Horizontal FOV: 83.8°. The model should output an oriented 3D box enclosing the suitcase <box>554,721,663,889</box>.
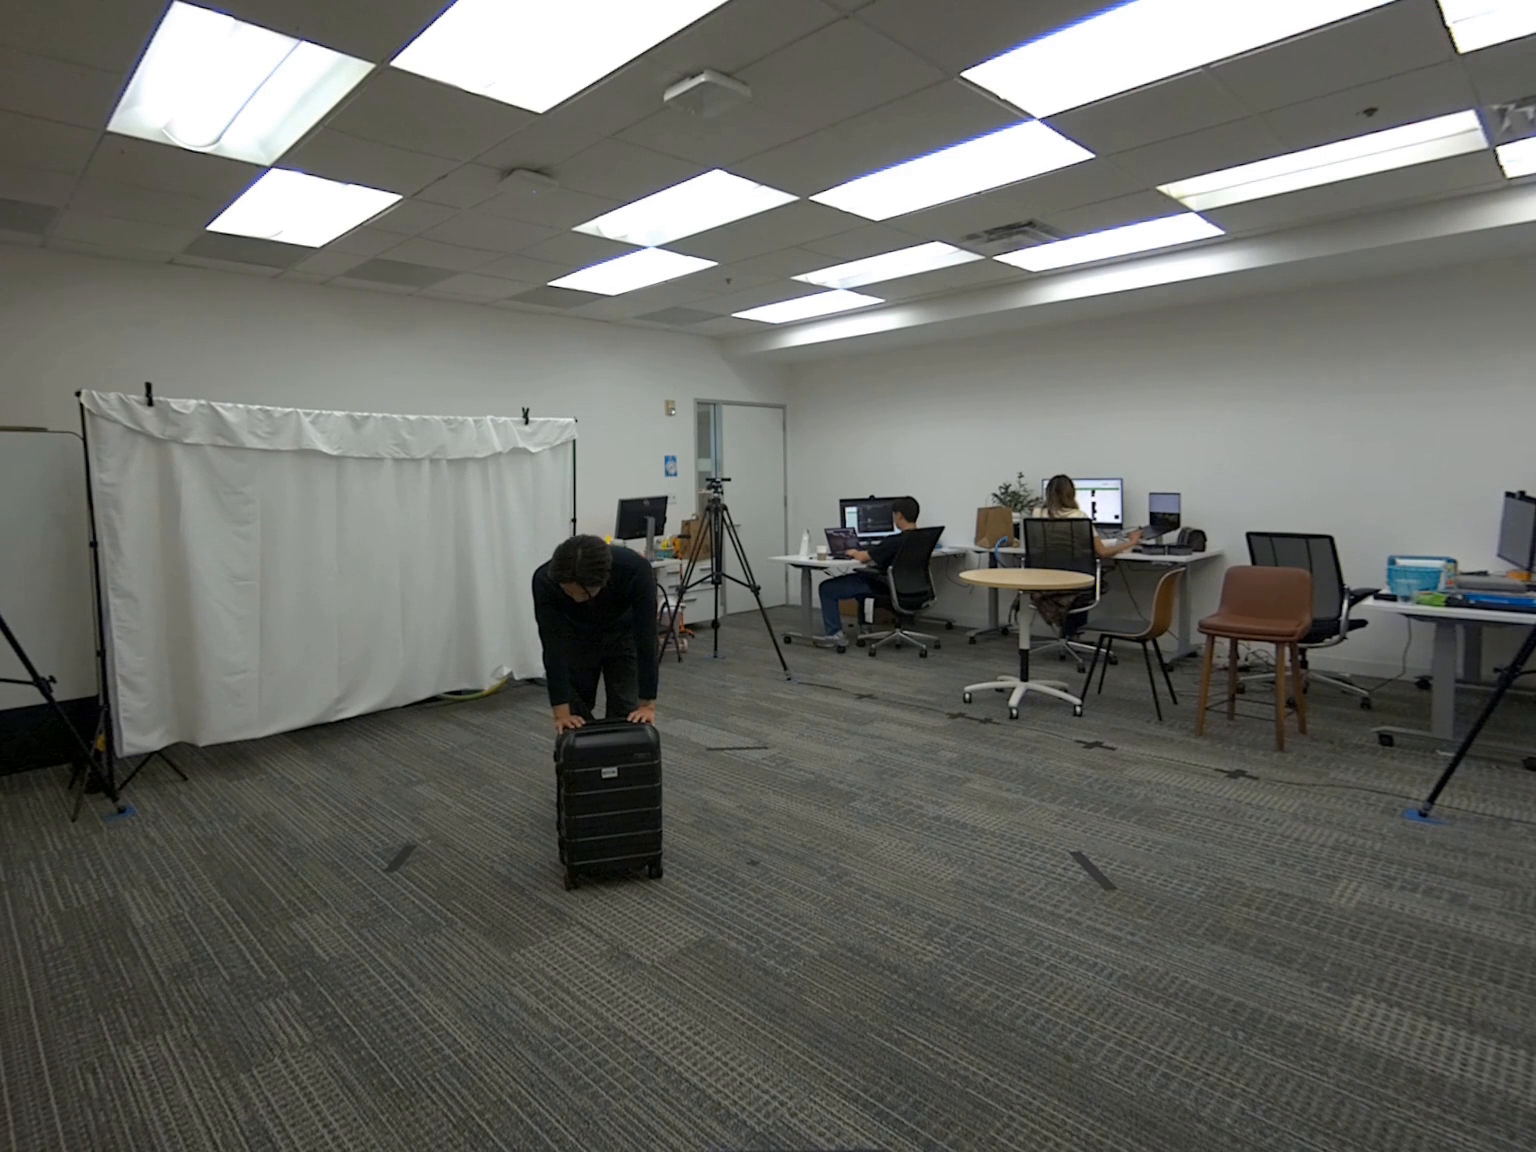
[{"bbox_3d":[-0.557,0.790,3.038,0.370,0.546,0.253,-1,6,-15],"label":"suitcase"}]
